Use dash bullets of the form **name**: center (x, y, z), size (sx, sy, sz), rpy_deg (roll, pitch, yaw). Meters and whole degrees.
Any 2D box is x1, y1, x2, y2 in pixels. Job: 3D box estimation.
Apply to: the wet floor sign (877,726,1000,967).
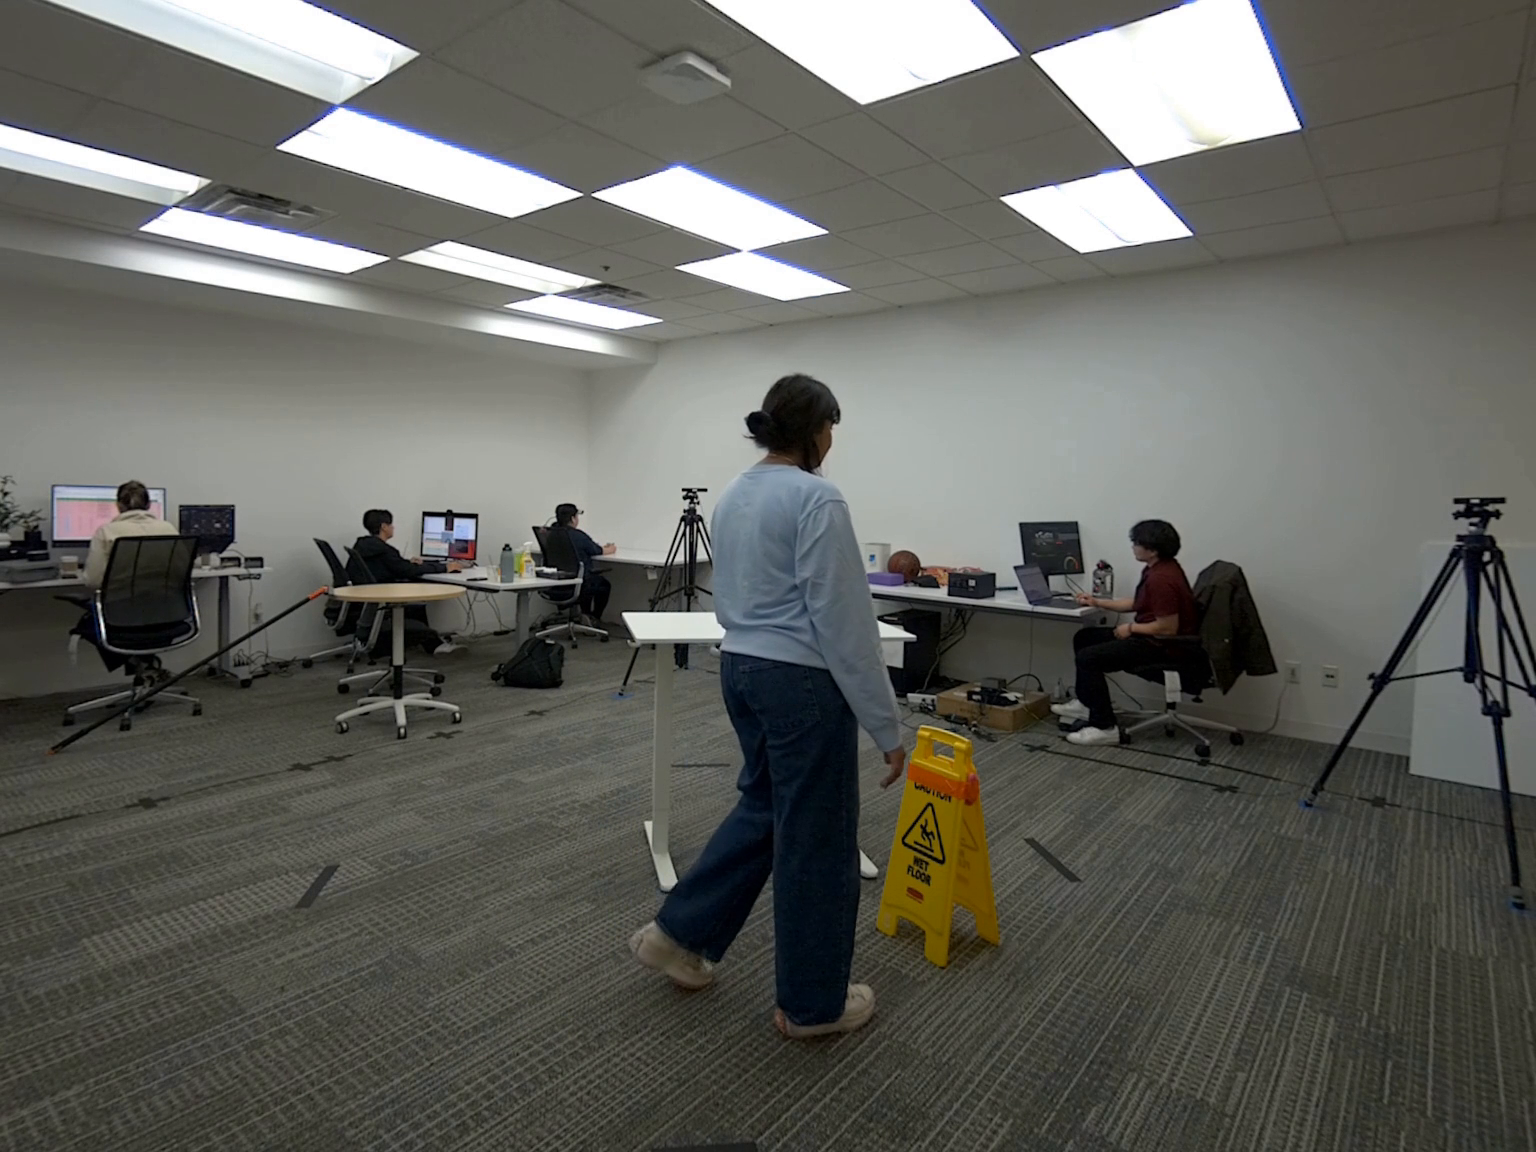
- **wet floor sign**: center (0.535, 0.807, 2.660), size (0.281, 0.644, 0.291), rpy_deg (0, 4, -35)
